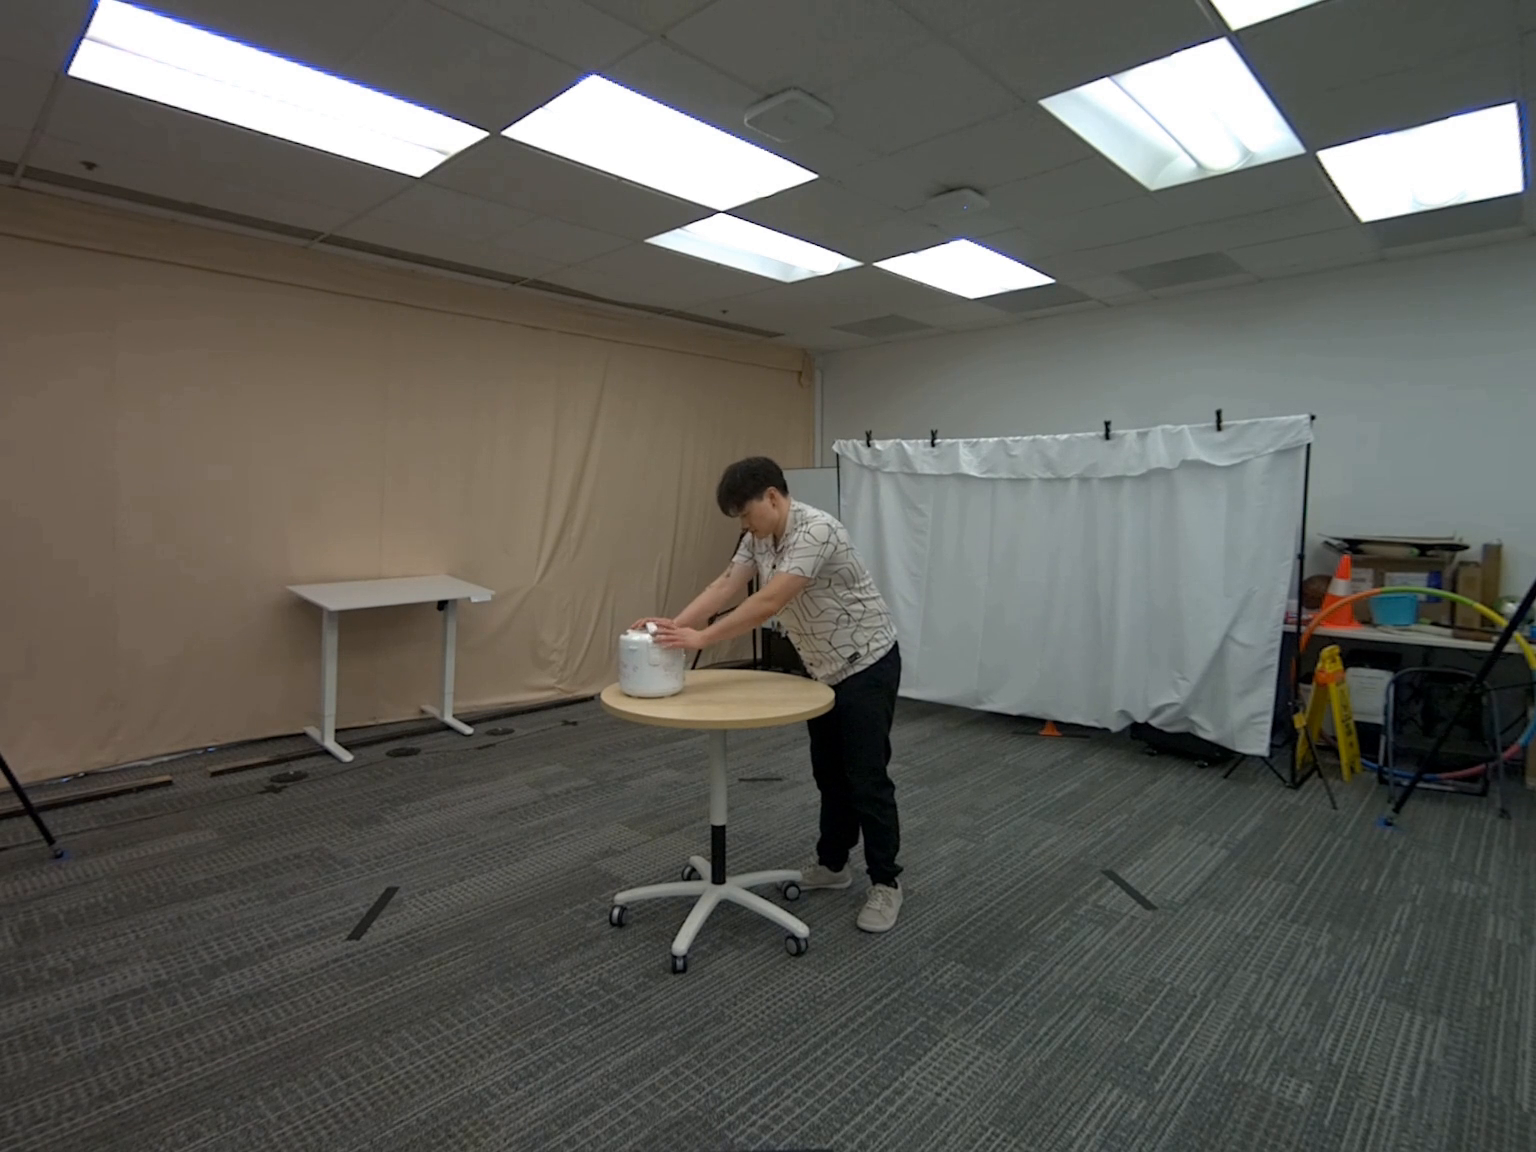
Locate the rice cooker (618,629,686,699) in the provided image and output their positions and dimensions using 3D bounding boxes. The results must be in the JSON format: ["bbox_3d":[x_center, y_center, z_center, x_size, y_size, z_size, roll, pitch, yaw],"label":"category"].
[{"bbox_3d":[-0.379,0.271,2.754,0.215,0.232,0.223,-2,4,-10],"label":"rice cooker"}]
